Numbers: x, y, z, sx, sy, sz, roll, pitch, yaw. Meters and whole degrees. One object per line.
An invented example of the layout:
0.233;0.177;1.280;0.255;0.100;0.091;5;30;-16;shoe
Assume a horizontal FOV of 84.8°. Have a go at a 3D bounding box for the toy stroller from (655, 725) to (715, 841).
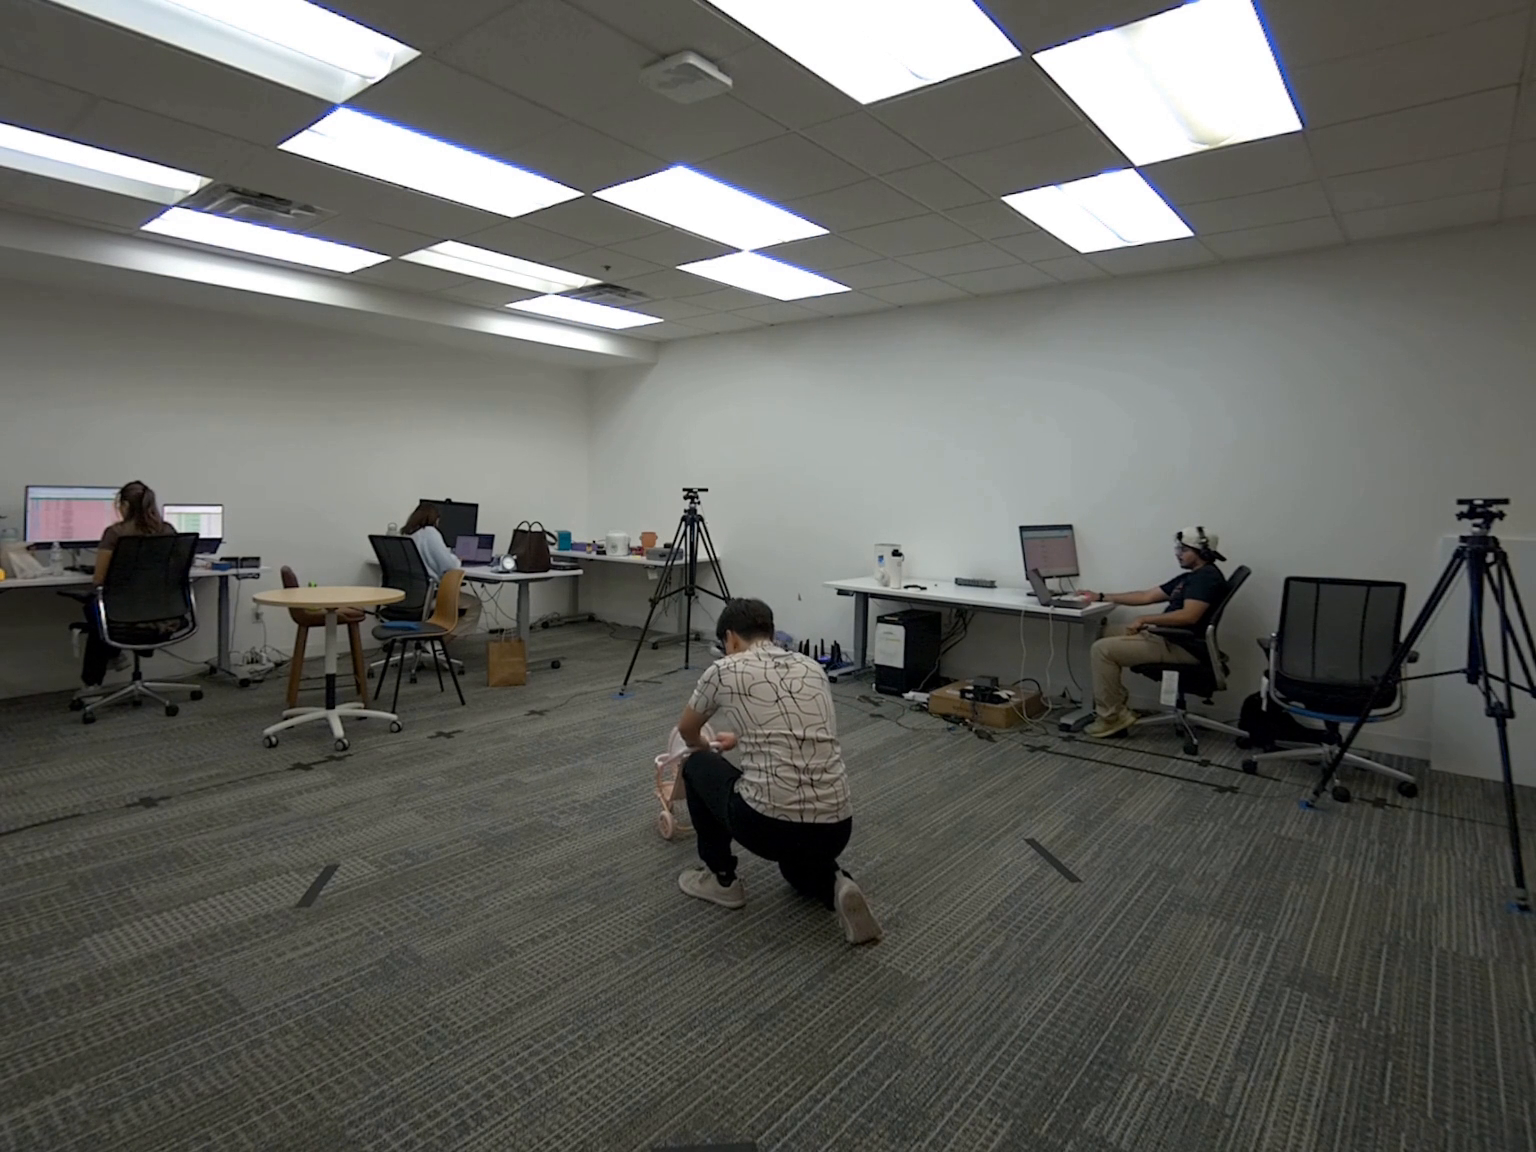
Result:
-0.335;0.808;3.481;0.275;0.527;0.355;0;22;-26;toy stroller
